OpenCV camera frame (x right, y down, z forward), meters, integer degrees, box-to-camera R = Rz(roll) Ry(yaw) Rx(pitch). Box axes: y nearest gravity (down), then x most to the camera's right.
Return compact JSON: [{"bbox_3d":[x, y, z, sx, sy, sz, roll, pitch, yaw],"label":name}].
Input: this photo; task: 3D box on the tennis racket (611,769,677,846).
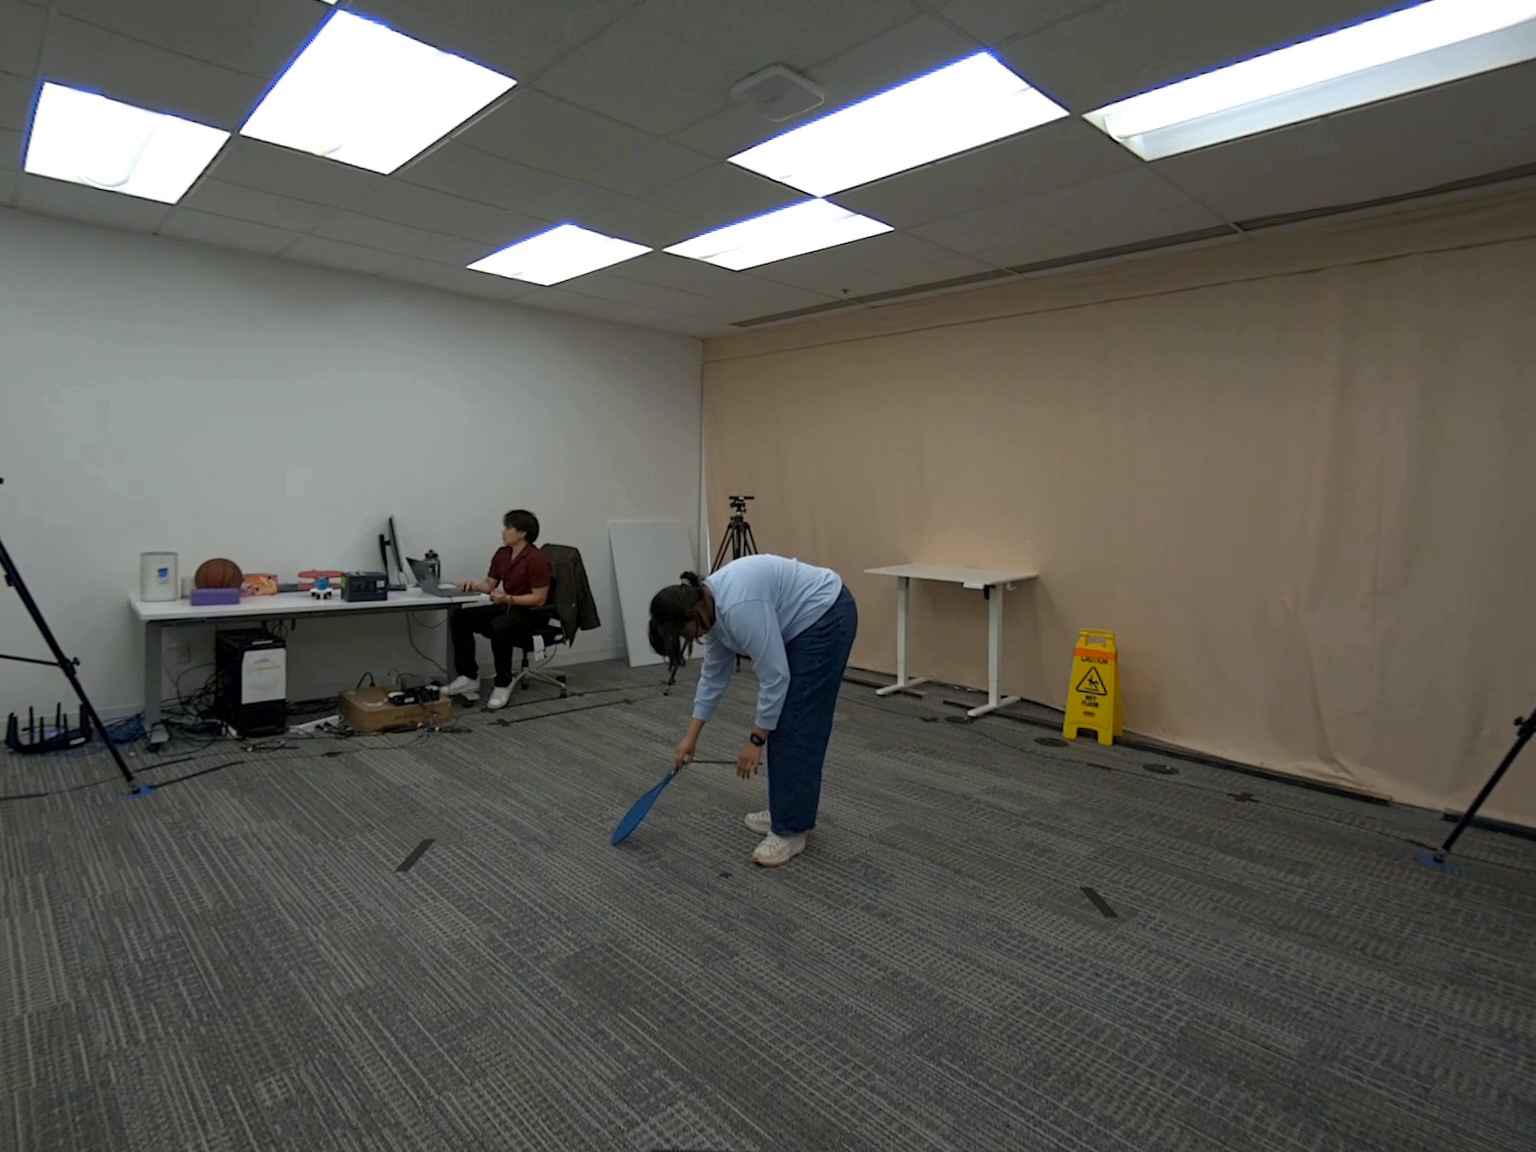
[{"bbox_3d":[-0.489,0.902,3.368,0.031,0.433,0.217,40,1,-14],"label":"tennis racket"}]
